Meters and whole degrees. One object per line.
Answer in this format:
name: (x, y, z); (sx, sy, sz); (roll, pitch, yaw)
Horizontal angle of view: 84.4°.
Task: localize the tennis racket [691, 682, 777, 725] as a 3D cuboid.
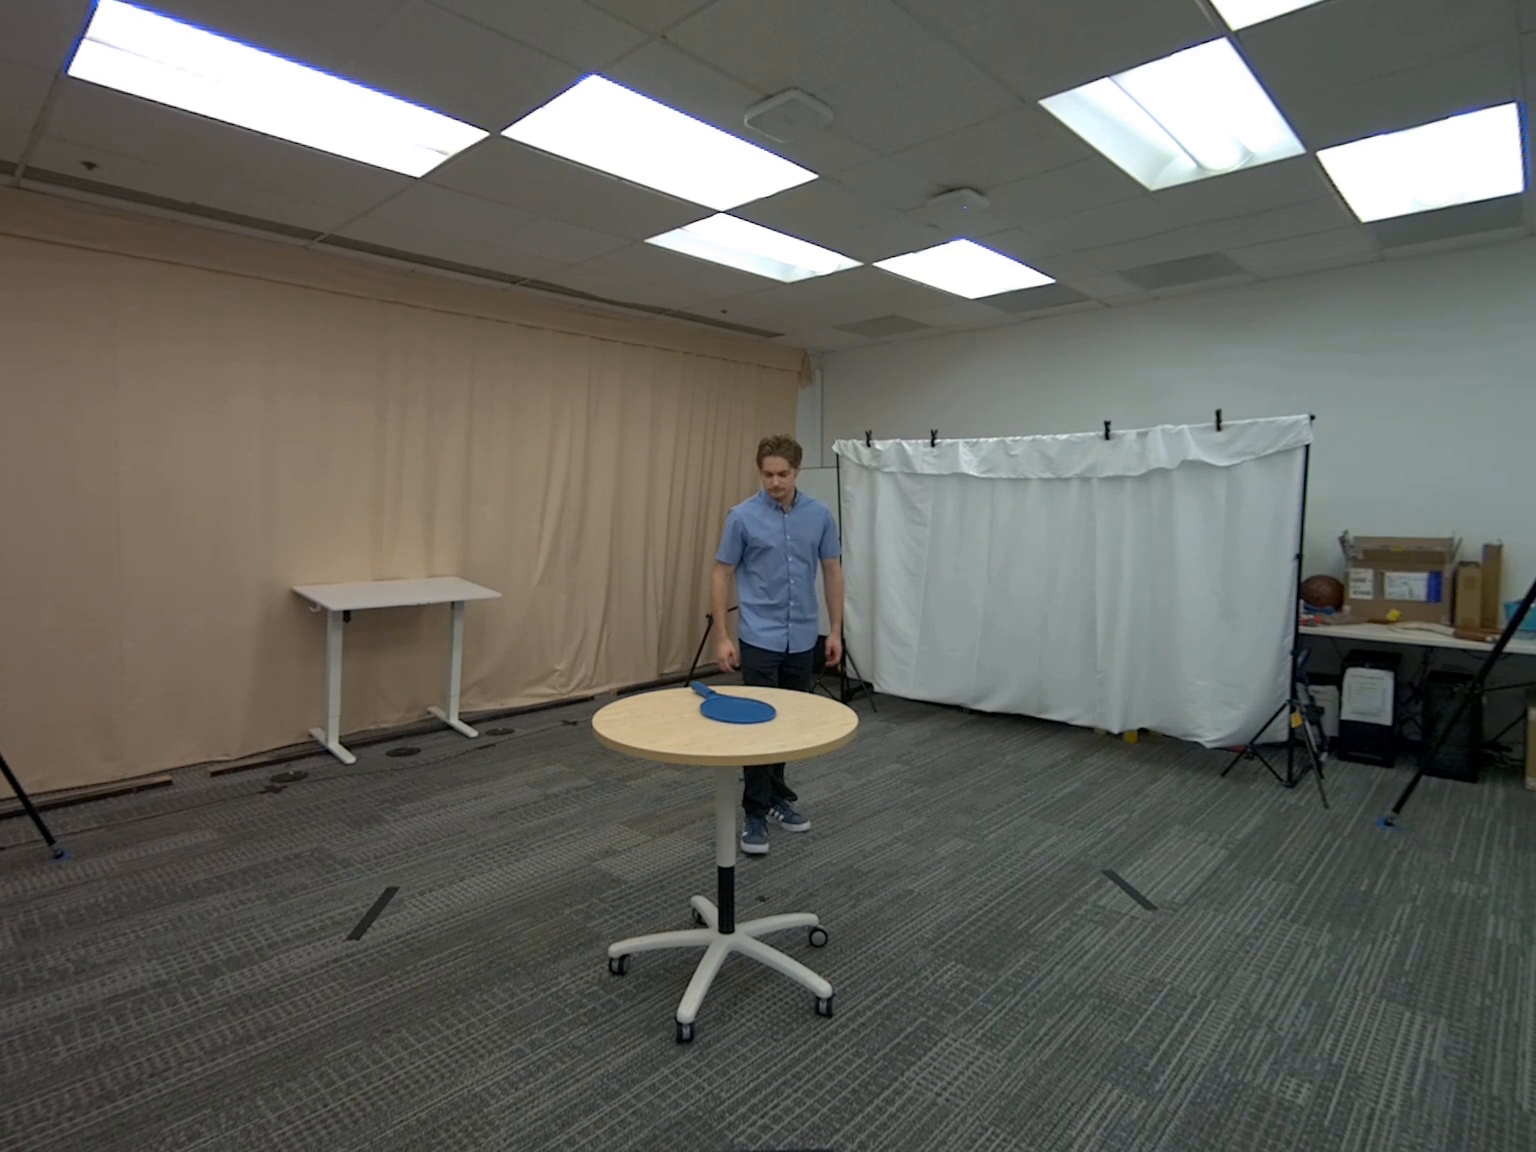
tennis racket: (-0.113, 0.386, 2.550); (0.209, 0.031, 0.445); (-5, 9, -25)
